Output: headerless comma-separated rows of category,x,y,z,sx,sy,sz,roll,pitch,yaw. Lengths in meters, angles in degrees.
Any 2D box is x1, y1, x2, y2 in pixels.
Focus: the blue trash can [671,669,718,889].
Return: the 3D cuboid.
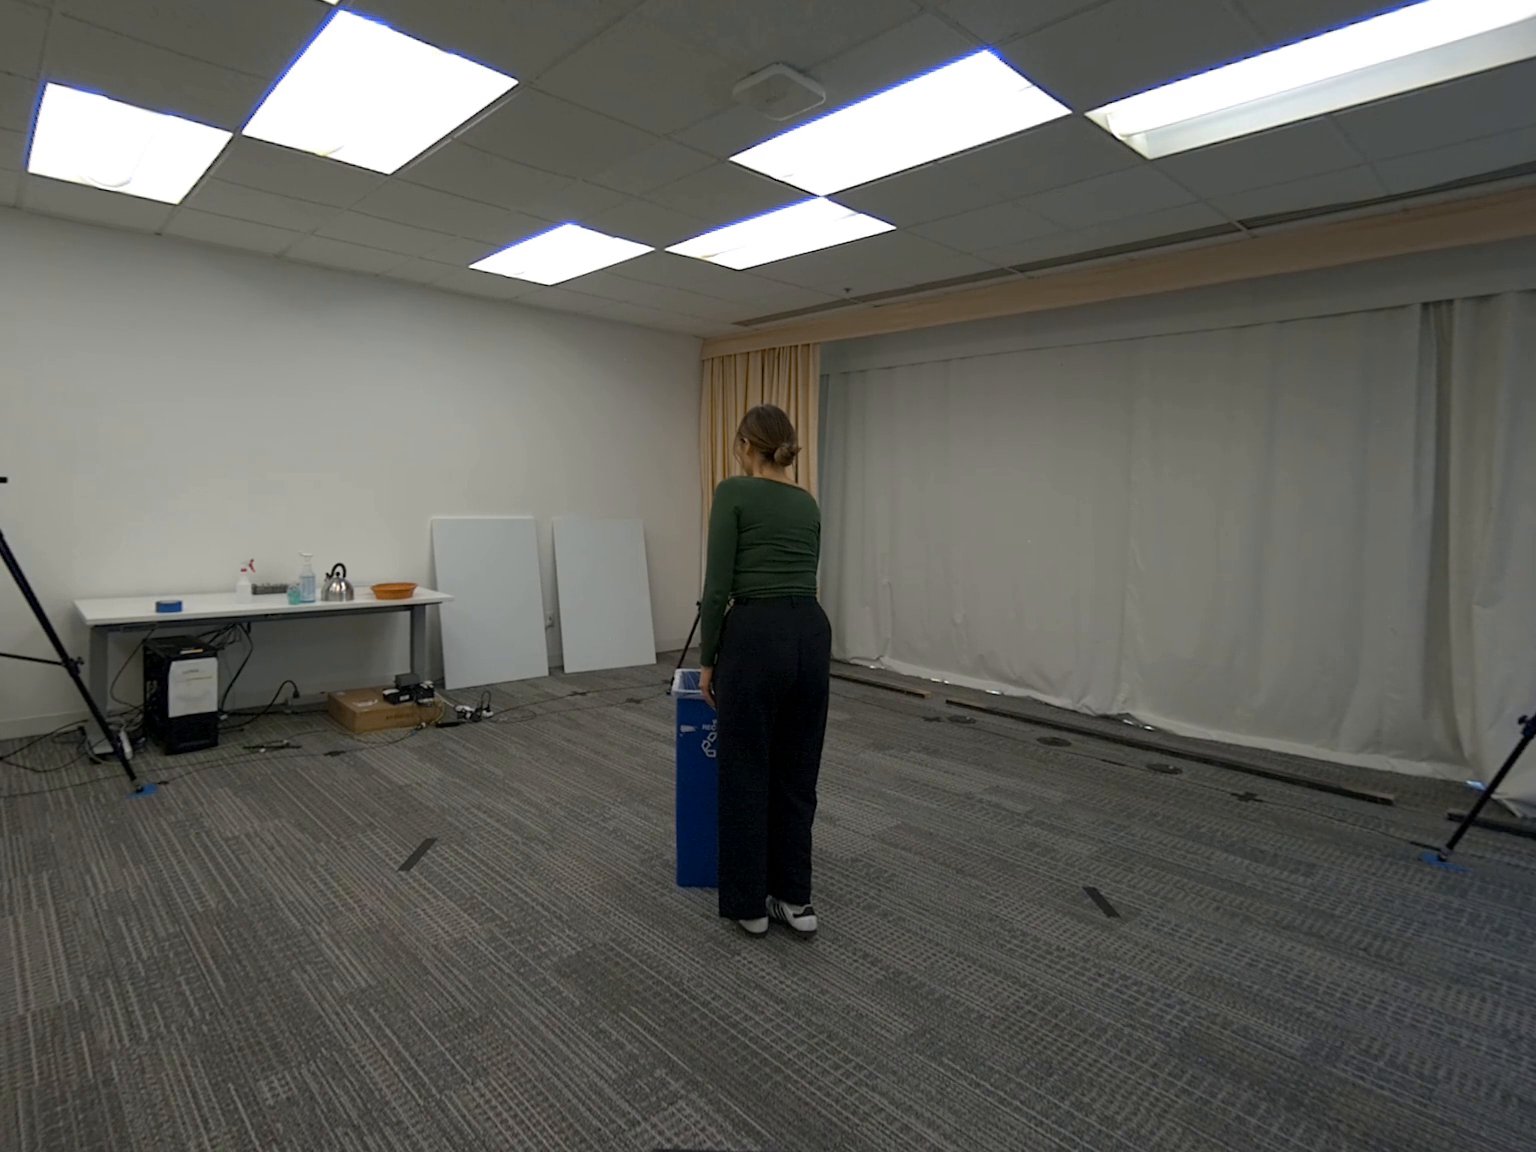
blue trash can,-0.183,0.741,3.130,0.377,0.711,0.376,2,5,-3
